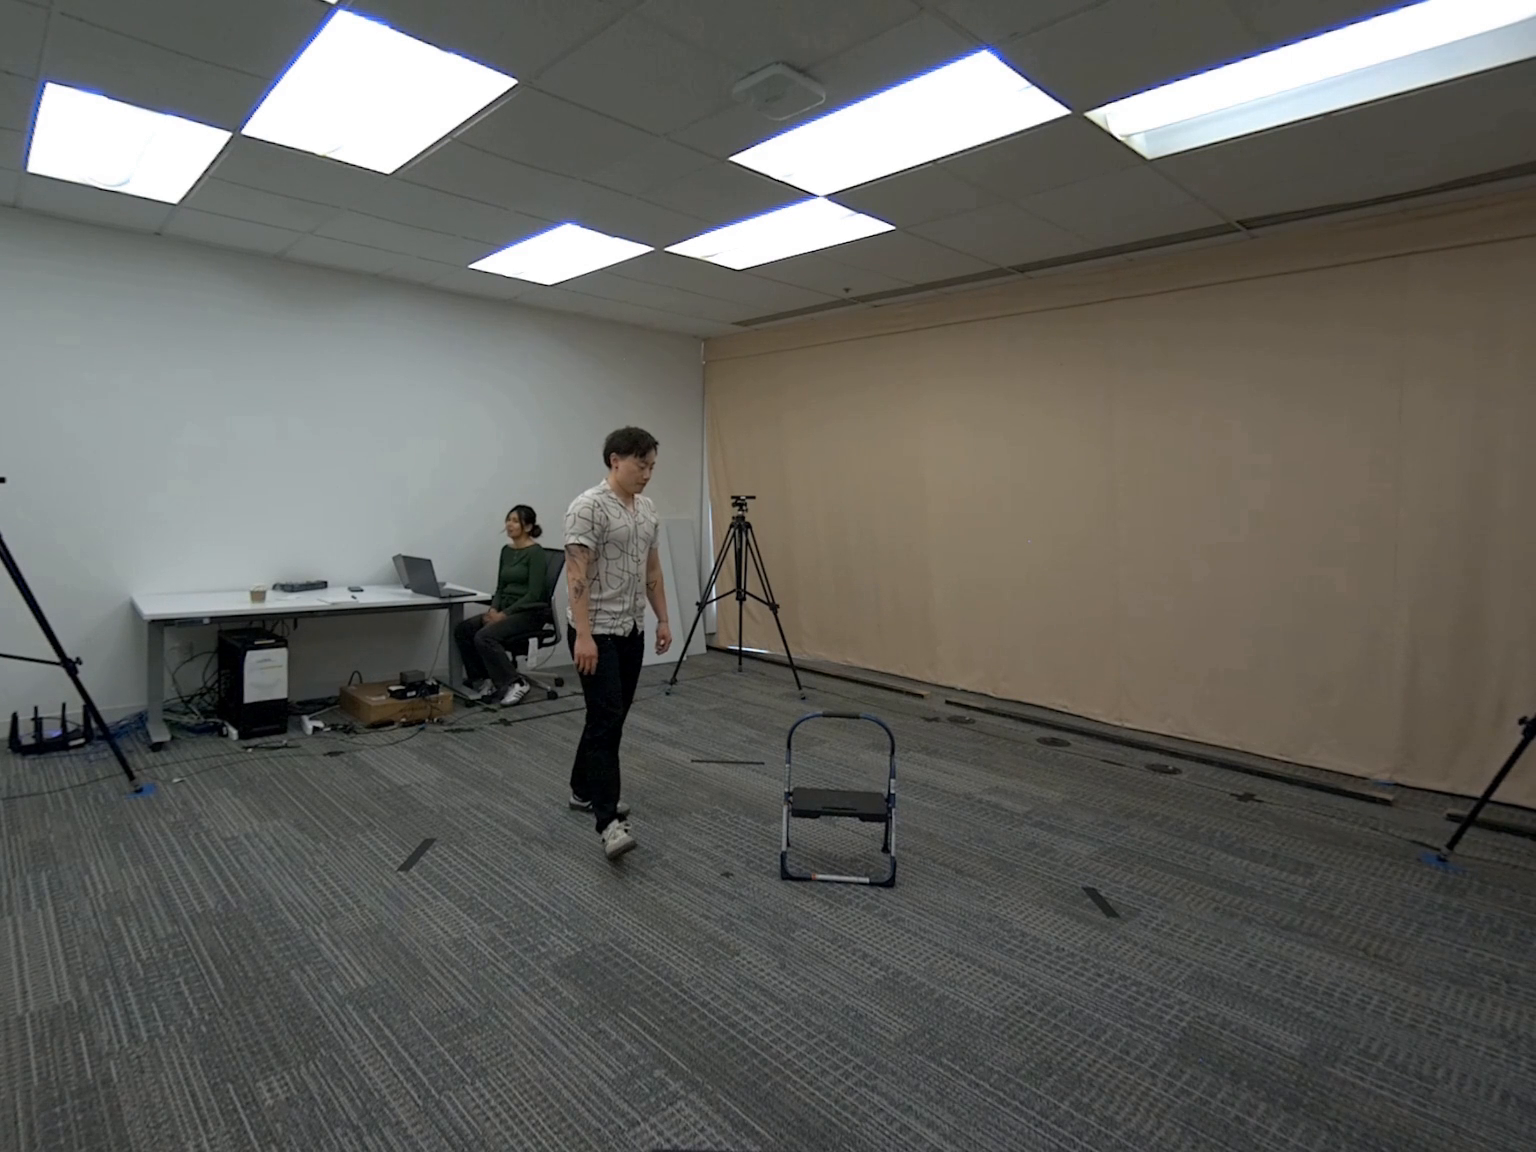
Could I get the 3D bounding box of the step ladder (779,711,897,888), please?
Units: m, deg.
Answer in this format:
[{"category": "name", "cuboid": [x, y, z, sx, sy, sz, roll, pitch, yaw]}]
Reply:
[{"category": "step ladder", "cuboid": [0.264, 0.801, 3.197, 0.432, 0.605, 0.349, 2, 3, 4]}]
